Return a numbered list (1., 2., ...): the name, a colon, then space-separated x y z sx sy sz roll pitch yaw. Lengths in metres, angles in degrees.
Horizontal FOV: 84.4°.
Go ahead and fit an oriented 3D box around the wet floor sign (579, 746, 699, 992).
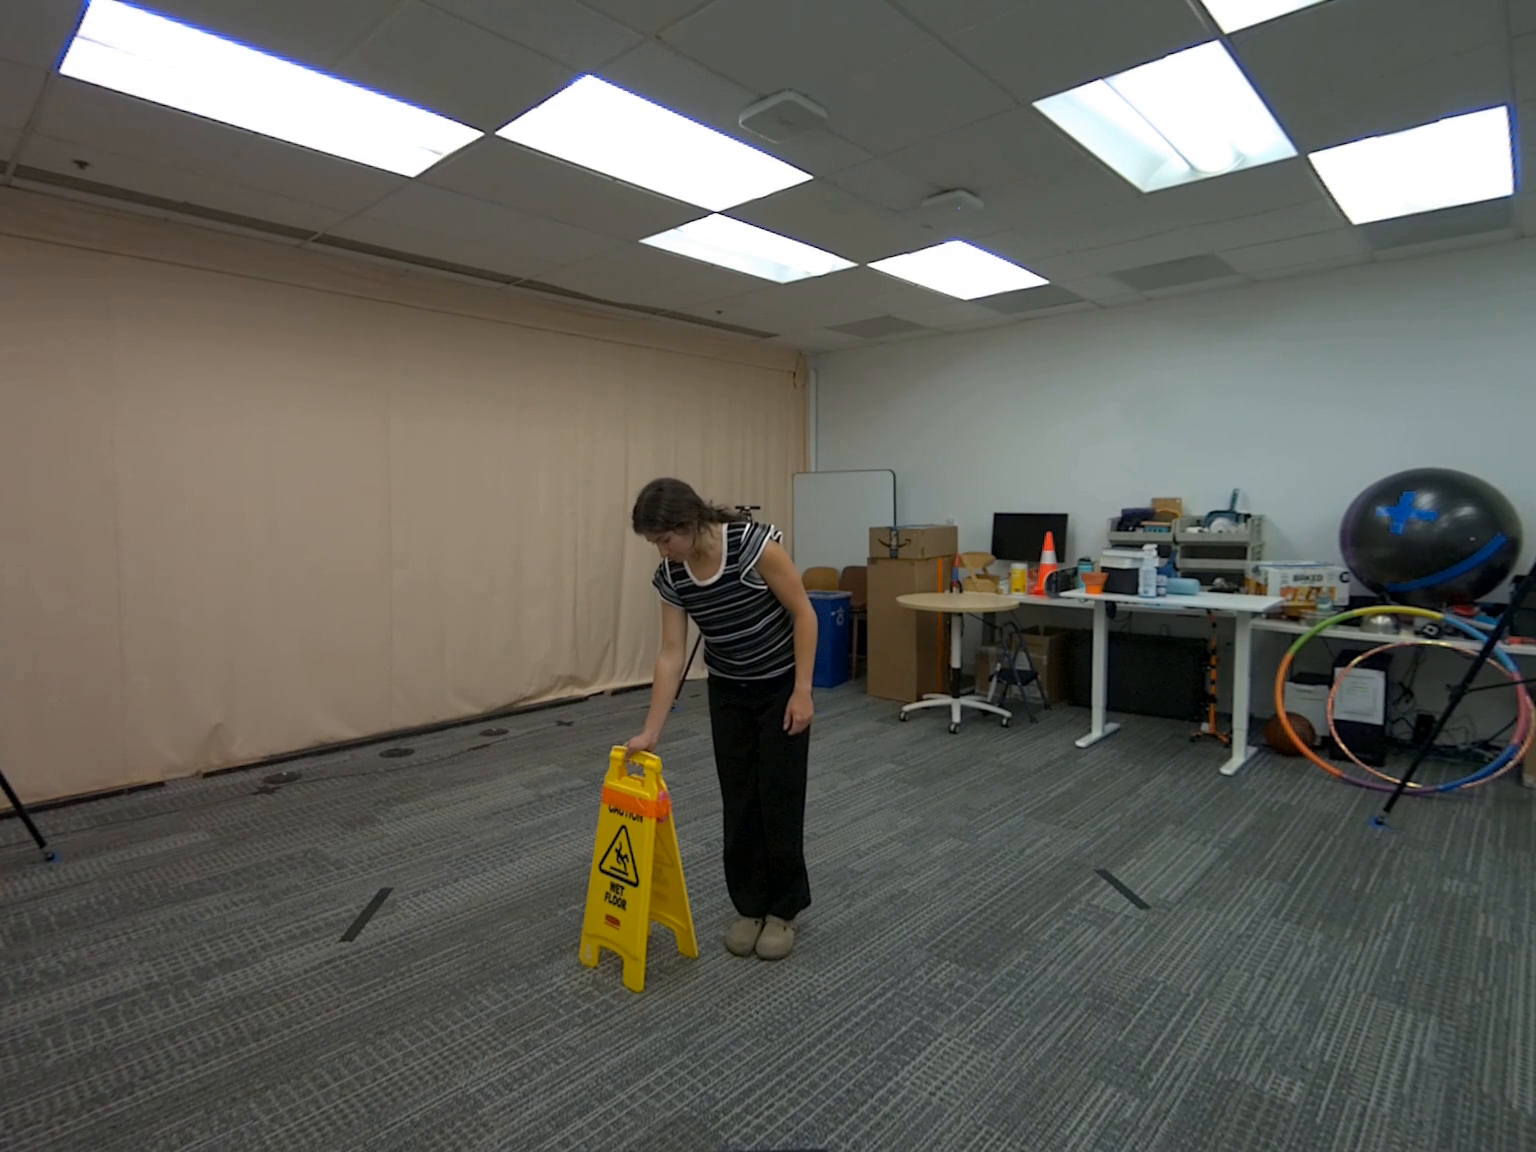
1. wet floor sign: -0.398 0.860 2.573 0.291 0.644 0.281 2 5 38
